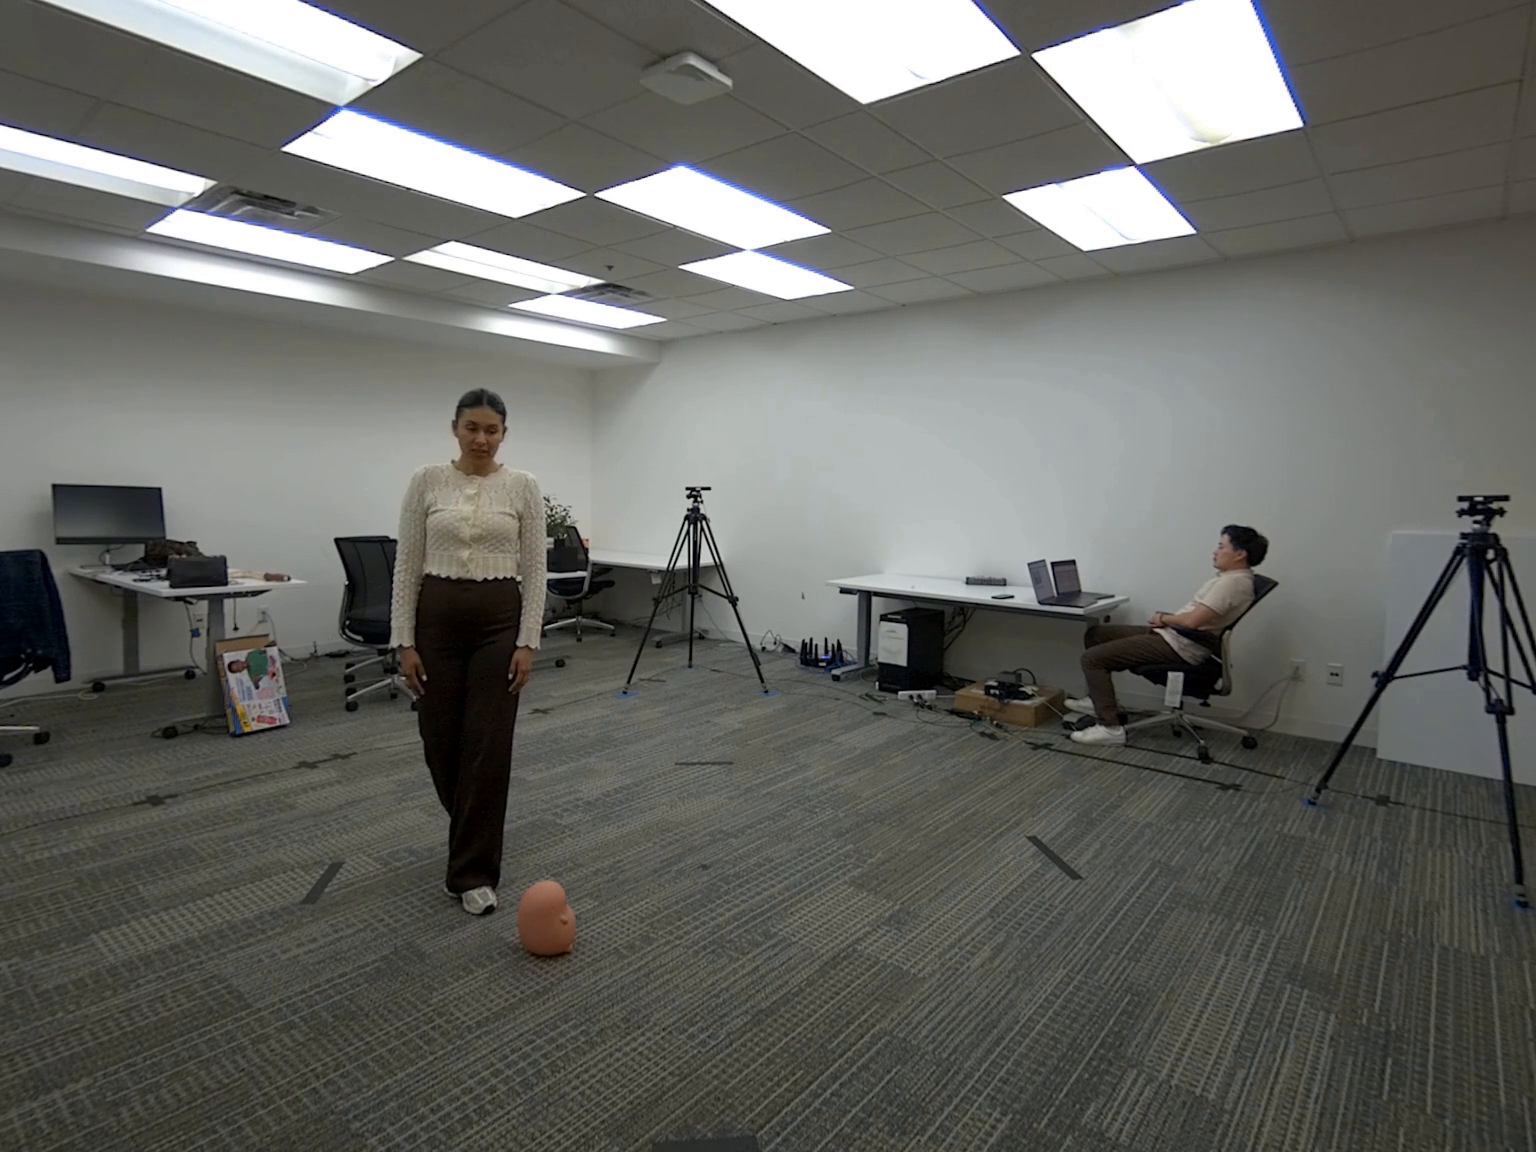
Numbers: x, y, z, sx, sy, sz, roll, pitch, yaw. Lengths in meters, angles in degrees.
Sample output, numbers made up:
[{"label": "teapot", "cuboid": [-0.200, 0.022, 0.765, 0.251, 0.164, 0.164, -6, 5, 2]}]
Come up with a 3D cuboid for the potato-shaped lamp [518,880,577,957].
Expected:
[{"label": "potato-shaped lamp", "cuboid": [-0.668, 1.015, 2.554, 0.169, 0.197, 0.168, 0, 7, -12]}]
